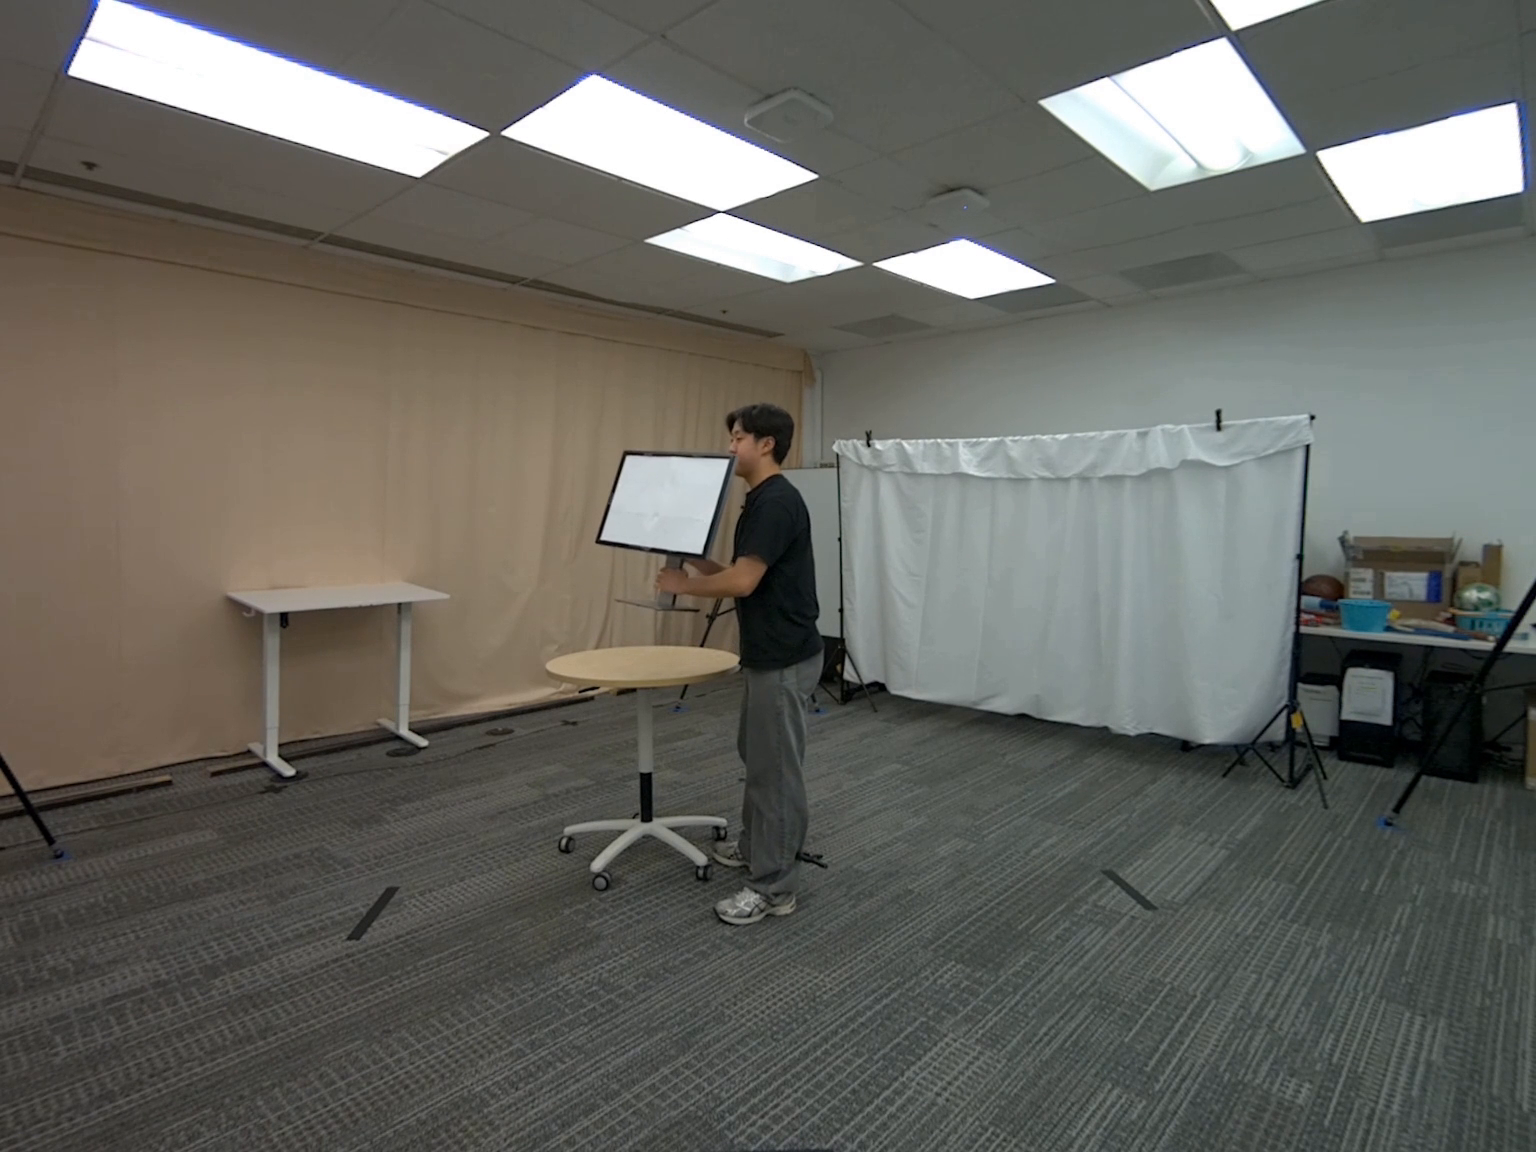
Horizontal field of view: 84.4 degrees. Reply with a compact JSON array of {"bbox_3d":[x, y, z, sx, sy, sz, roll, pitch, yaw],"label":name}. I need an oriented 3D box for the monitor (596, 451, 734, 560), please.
[{"bbox_3d":[-0.351,-0.149,2.929,0.581,0.565,0.215,7,2,44],"label":"monitor"}]
